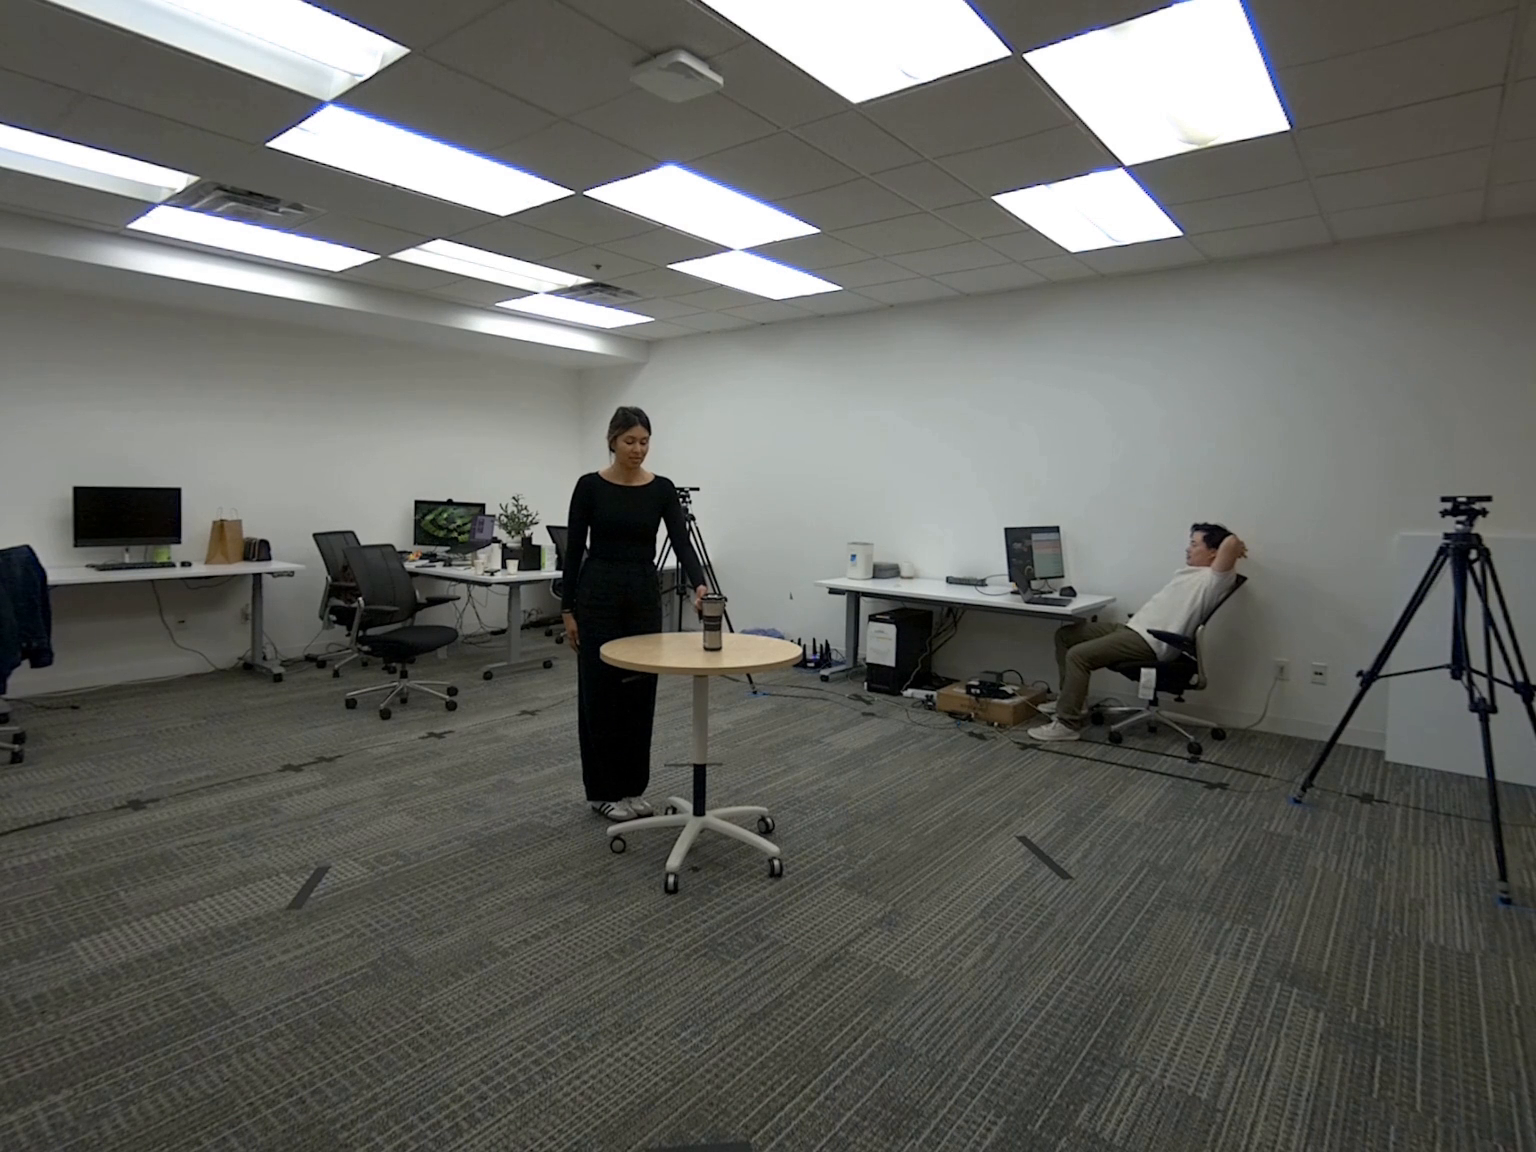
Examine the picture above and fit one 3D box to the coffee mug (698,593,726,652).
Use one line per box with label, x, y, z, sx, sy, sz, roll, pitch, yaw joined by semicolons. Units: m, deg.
coffee mug;-0.212;0.170;3.196;0.088;0.202;0.122;-3;6;7
